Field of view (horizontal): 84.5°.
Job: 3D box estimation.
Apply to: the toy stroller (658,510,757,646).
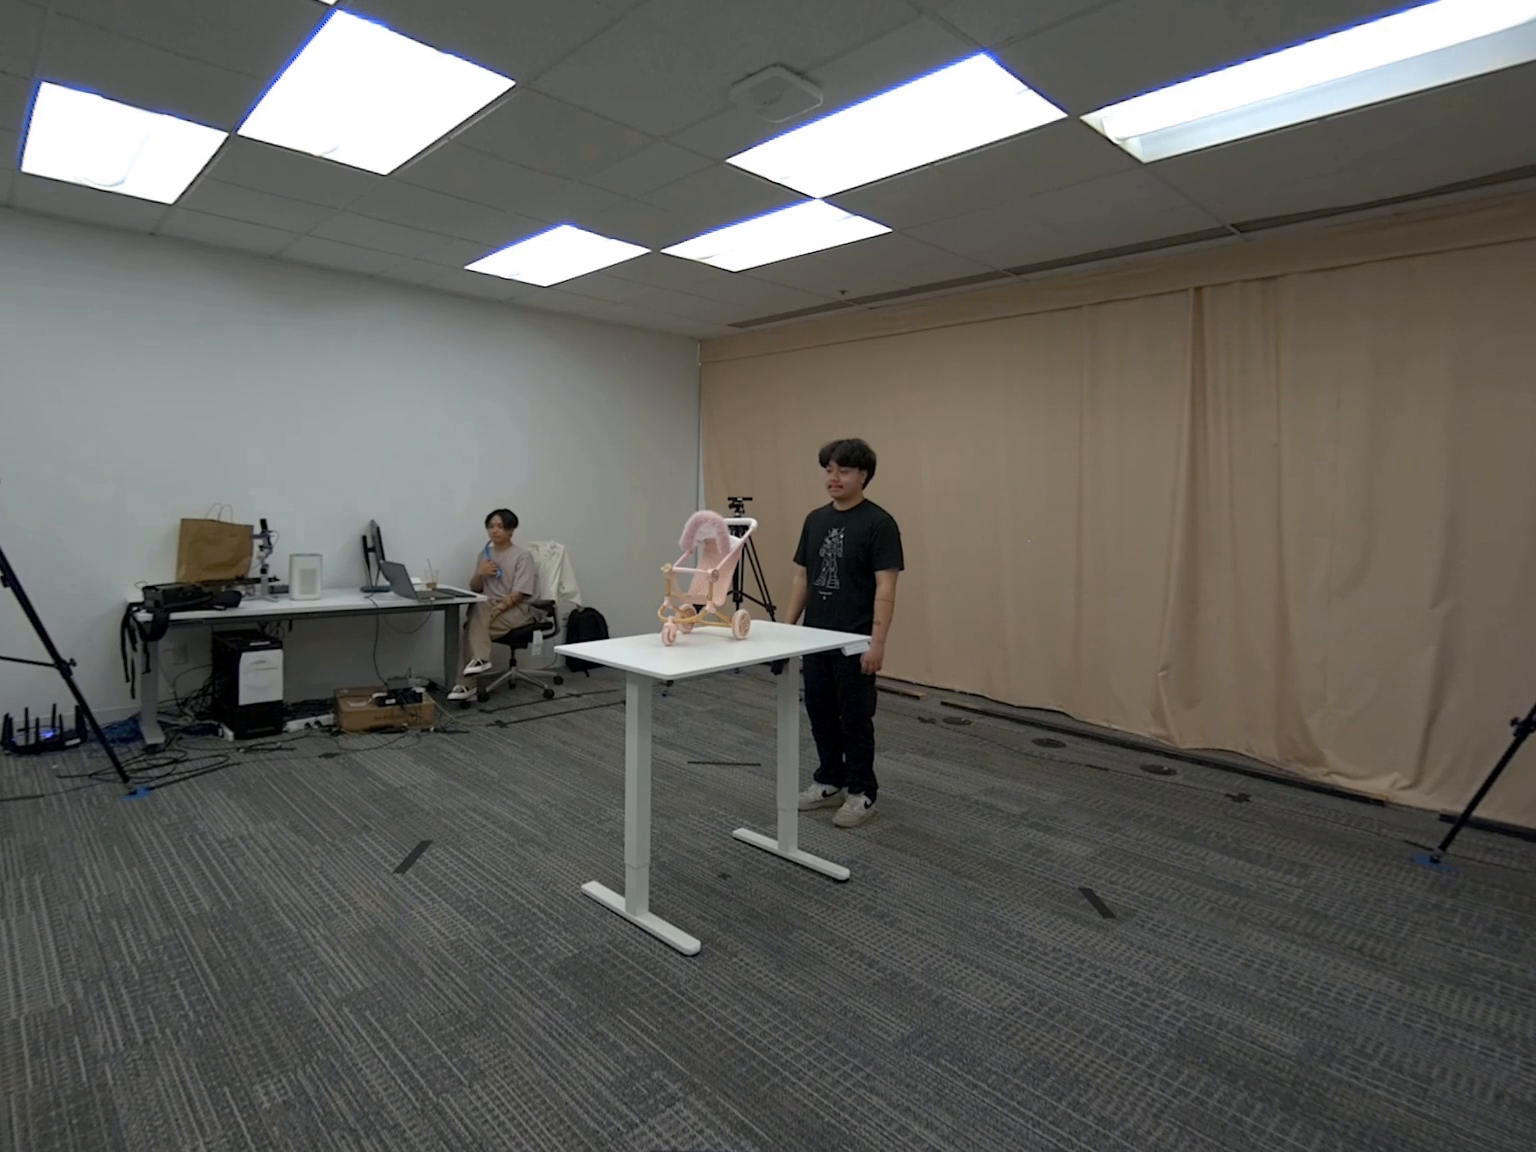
[{"bbox_3d":[-0.243,0.007,3.041,0.288,0.538,0.331,3,-11,37],"label":"toy stroller"}]
